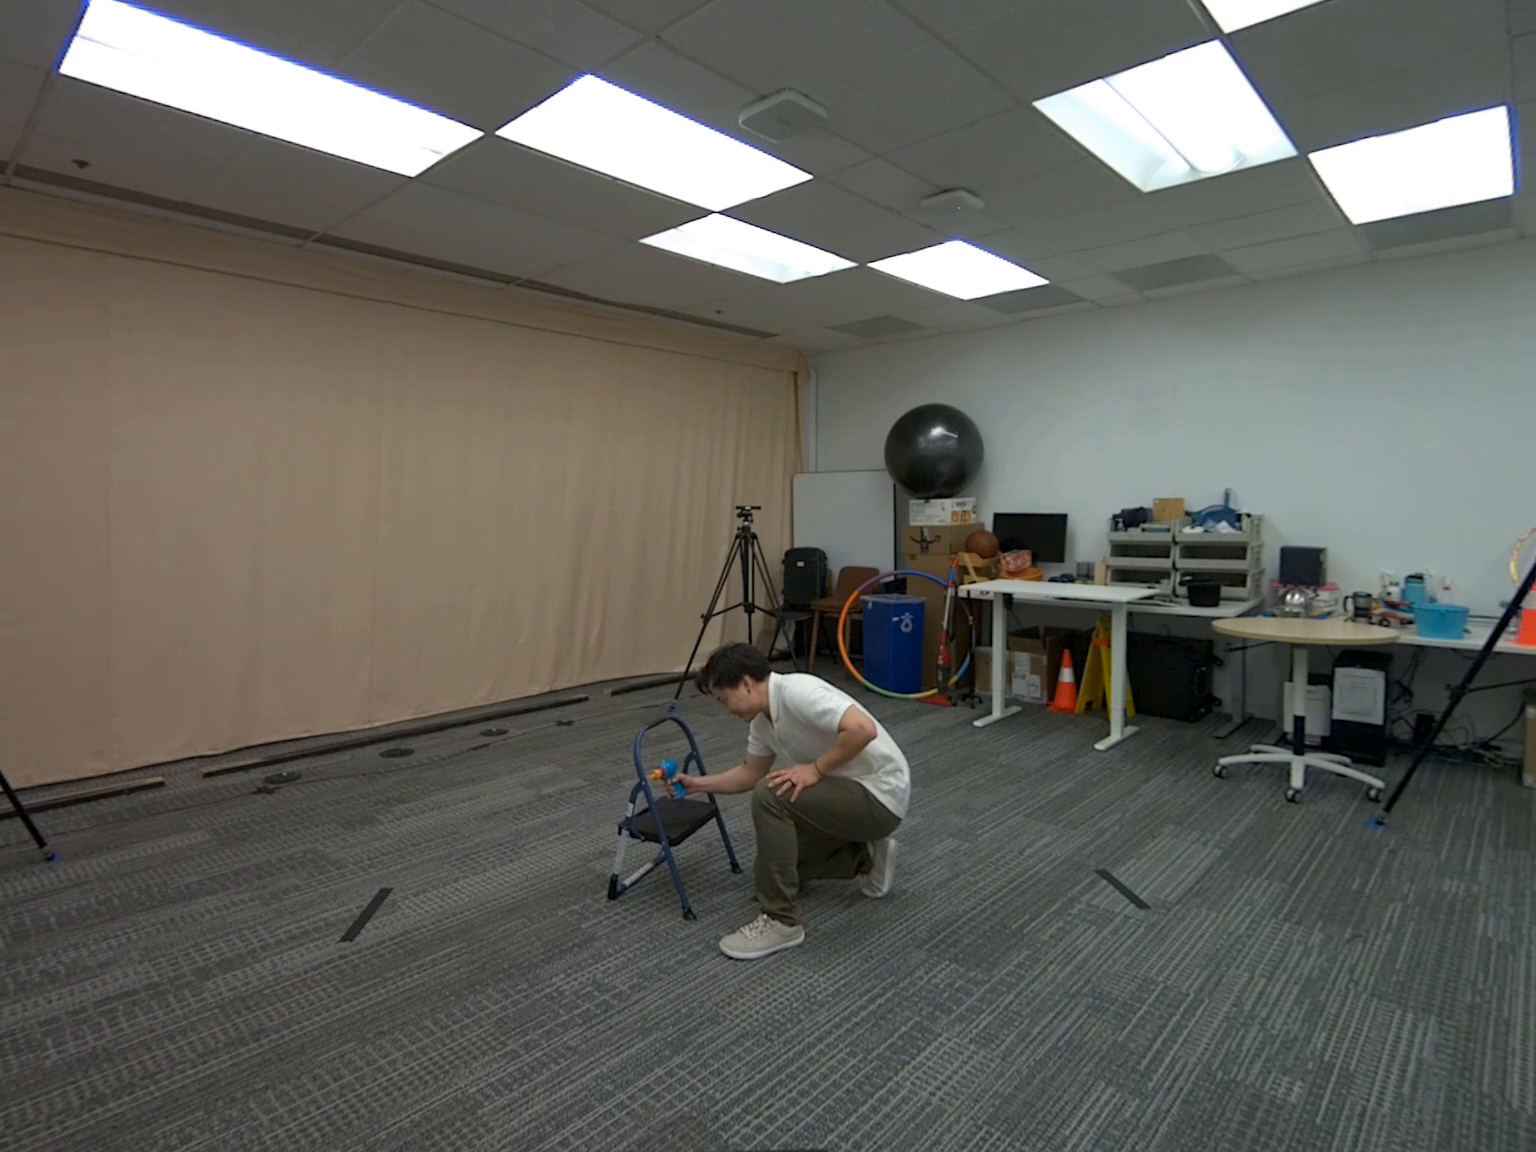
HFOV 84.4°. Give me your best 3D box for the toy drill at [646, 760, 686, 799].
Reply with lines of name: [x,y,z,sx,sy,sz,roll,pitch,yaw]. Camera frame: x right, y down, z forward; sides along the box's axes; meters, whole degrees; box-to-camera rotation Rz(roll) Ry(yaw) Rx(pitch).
toy drill: [-0.354,0.743,2.998,0.062,0.147,0.166,-25,-5,25]
